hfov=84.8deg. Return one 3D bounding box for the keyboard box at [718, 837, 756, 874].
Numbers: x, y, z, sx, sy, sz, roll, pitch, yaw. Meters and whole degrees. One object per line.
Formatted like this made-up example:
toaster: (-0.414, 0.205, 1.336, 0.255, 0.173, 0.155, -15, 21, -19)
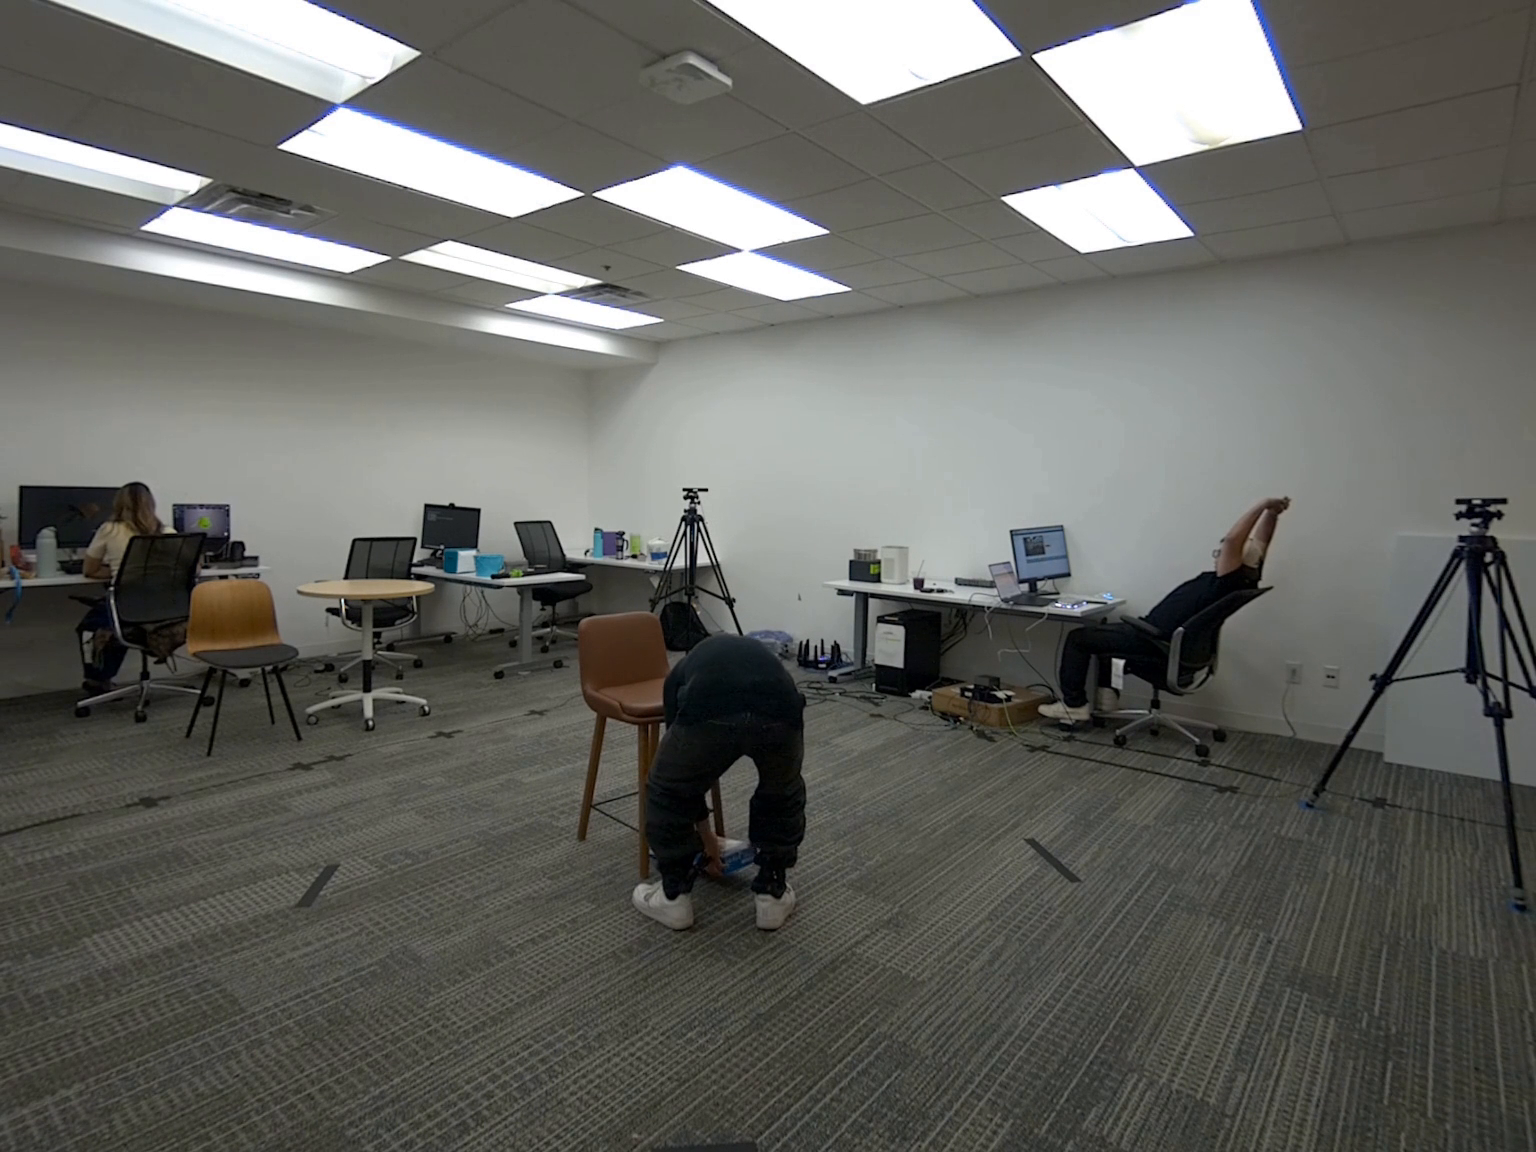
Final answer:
keyboard box: (-0.265, 1.003, 3.127, 0.170, 0.059, 0.449, -4, -1, -44)
